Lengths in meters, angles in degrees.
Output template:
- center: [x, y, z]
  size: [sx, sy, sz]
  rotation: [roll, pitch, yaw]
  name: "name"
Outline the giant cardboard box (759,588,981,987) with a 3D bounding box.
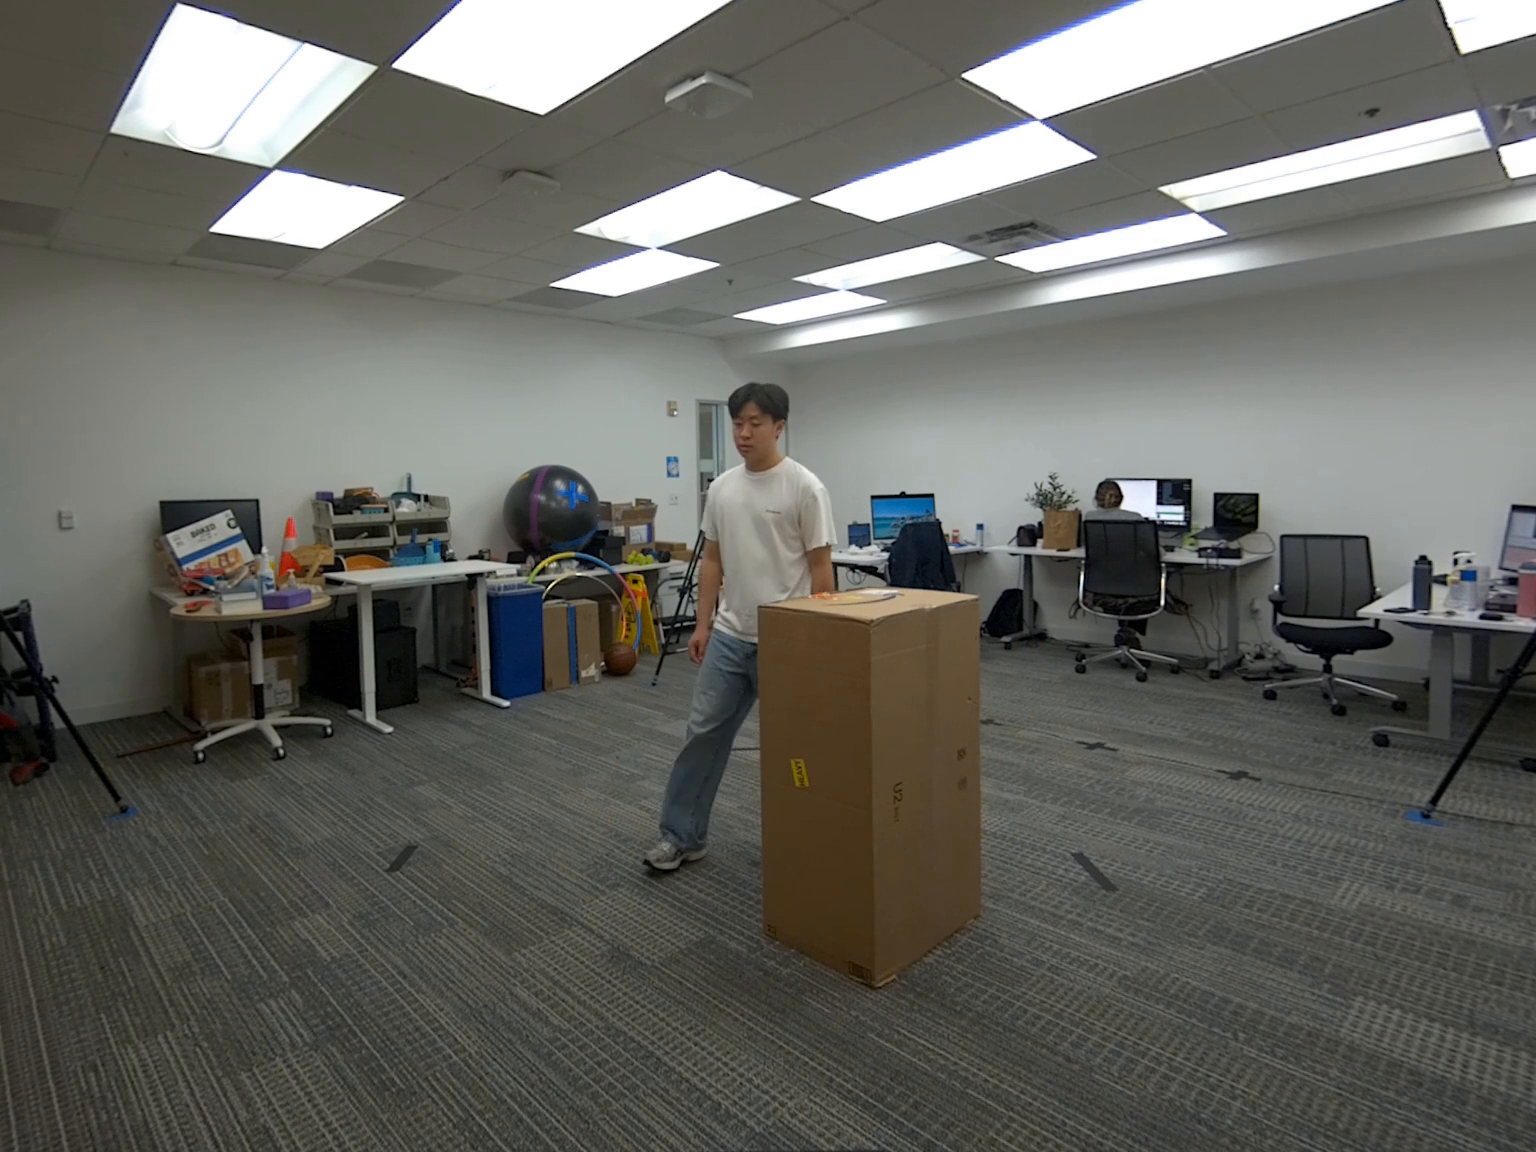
- center: [0.329, 0.583, 2.641]
  size: [0.439, 1.022, 0.562]
  rotation: [2, 5, 45]
  name: "giant cardboard box"
